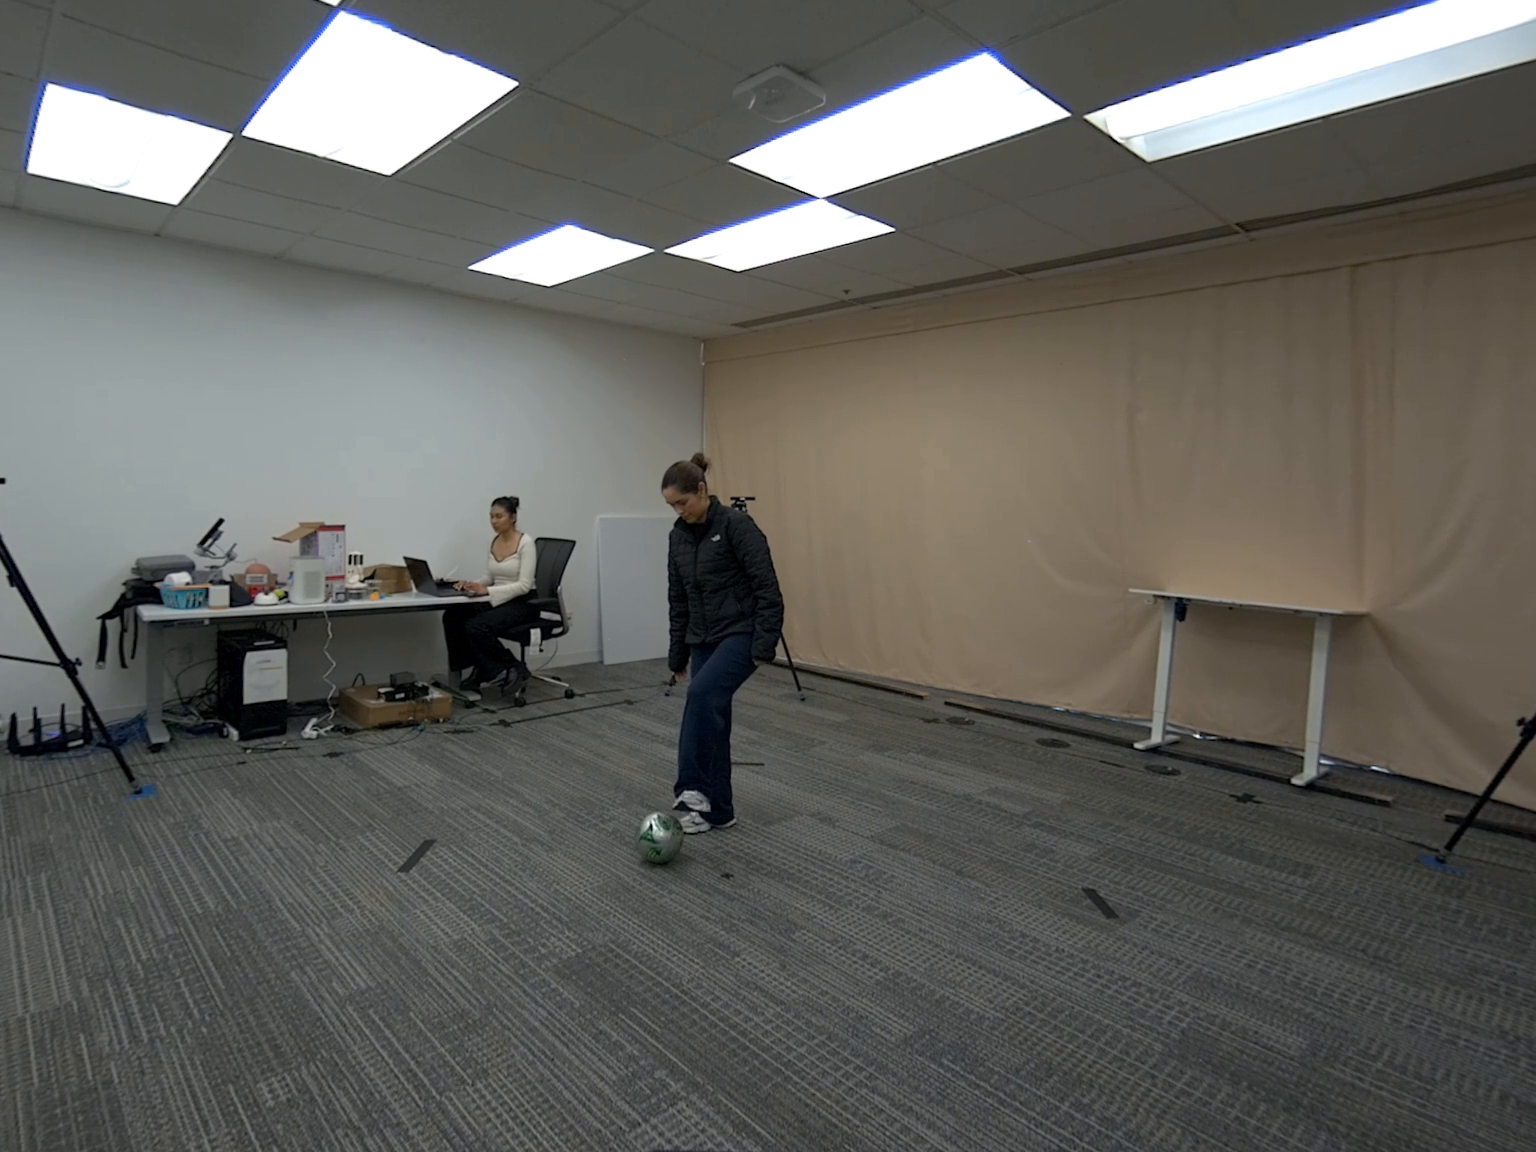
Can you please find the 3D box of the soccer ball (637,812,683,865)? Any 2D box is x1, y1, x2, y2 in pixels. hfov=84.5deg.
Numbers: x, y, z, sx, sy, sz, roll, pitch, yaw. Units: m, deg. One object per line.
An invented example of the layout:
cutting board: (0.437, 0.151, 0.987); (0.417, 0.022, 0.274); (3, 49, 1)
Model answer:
soccer ball: (-0.419, 0.997, 3.208); (0.187, 0.187, 0.188); (1, 4, -1)
